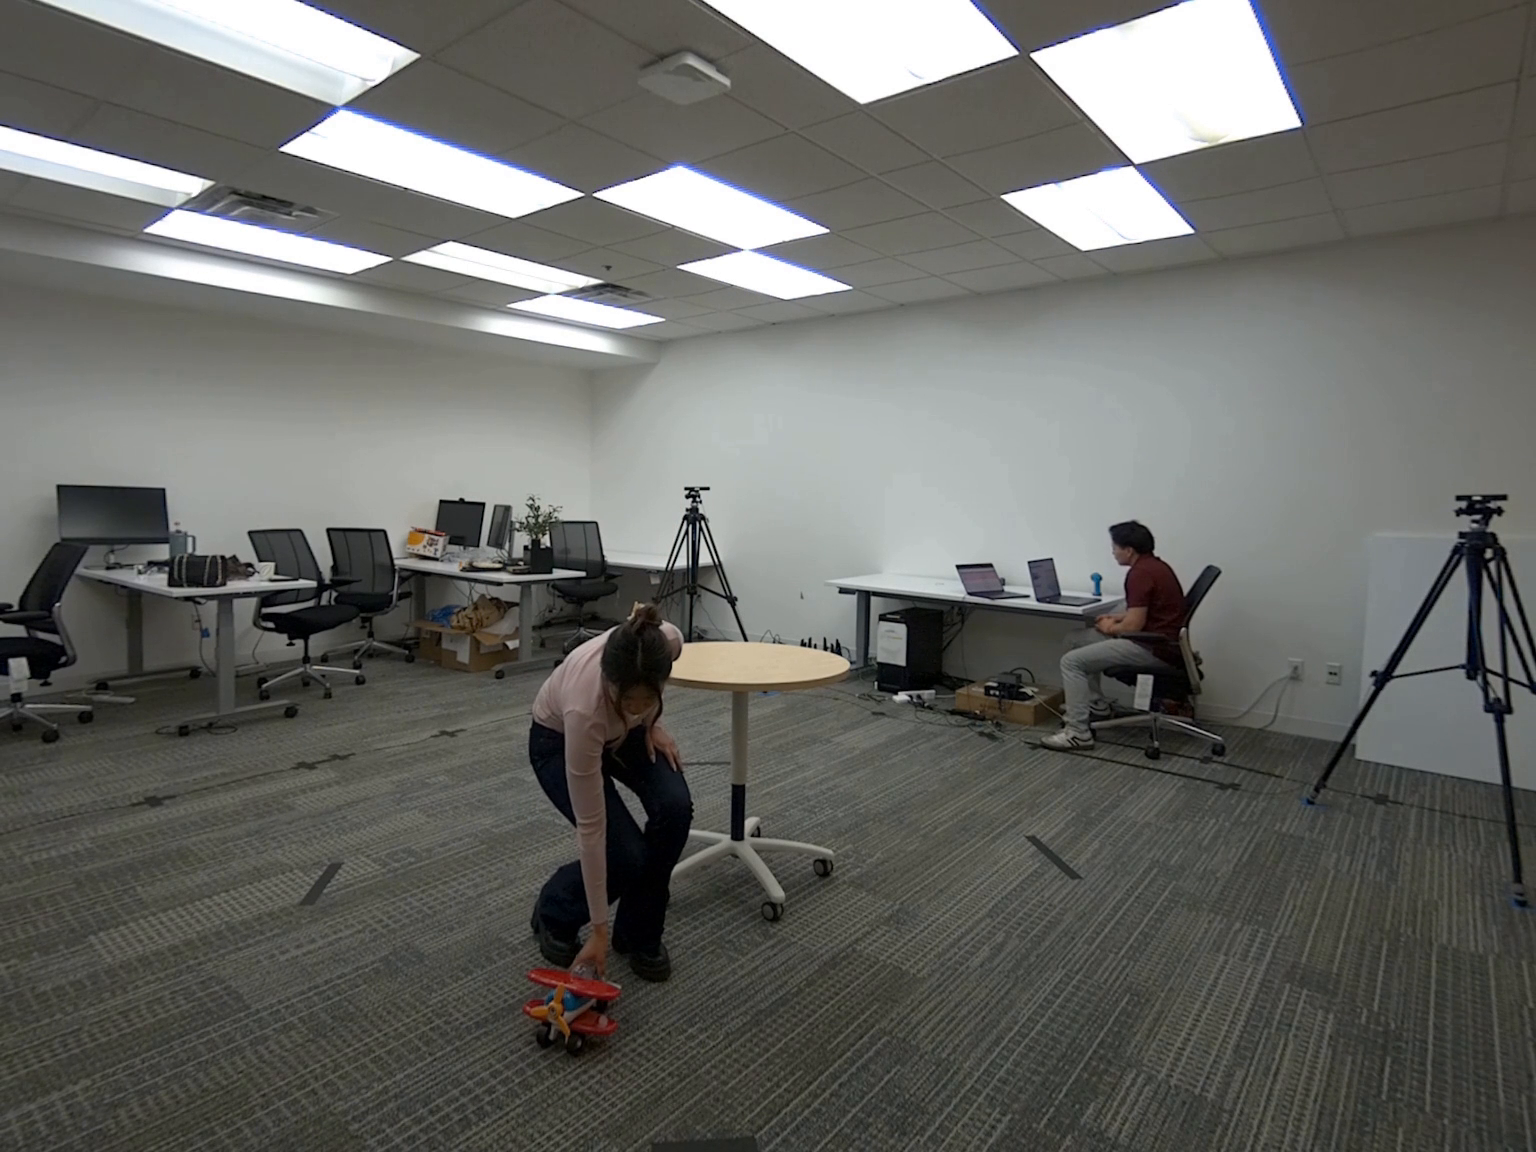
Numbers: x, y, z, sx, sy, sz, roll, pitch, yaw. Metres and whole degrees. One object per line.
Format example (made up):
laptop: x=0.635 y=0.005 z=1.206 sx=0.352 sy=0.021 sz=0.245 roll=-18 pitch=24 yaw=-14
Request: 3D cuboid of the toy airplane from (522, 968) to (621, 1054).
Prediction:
toy airplane: x=-0.513 y=1.082 z=2.182 sx=0.248 sy=0.156 sz=0.263 roll=1 pitch=4 yaw=-12
